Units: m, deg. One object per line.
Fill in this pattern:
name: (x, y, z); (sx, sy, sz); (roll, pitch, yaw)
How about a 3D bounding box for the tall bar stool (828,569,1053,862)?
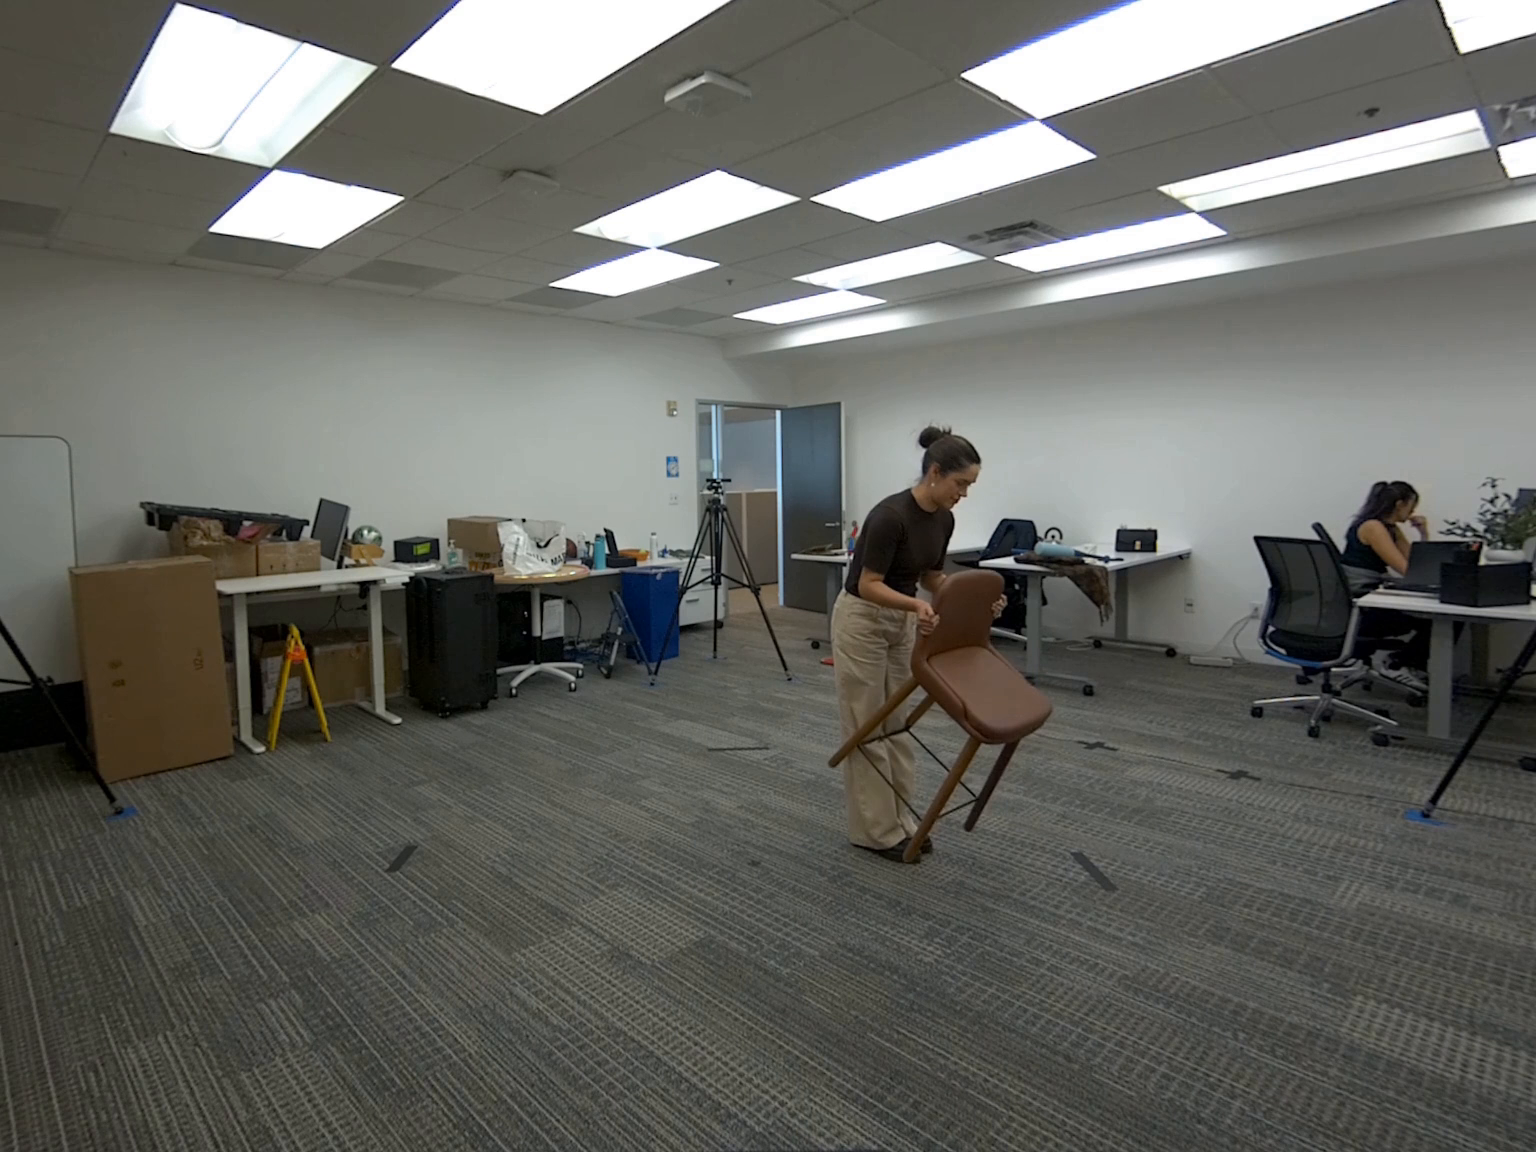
tall bar stool: (0.663, 0.483, 2.967); (0.444, 0.881, 0.486); (-2, 36, -44)
